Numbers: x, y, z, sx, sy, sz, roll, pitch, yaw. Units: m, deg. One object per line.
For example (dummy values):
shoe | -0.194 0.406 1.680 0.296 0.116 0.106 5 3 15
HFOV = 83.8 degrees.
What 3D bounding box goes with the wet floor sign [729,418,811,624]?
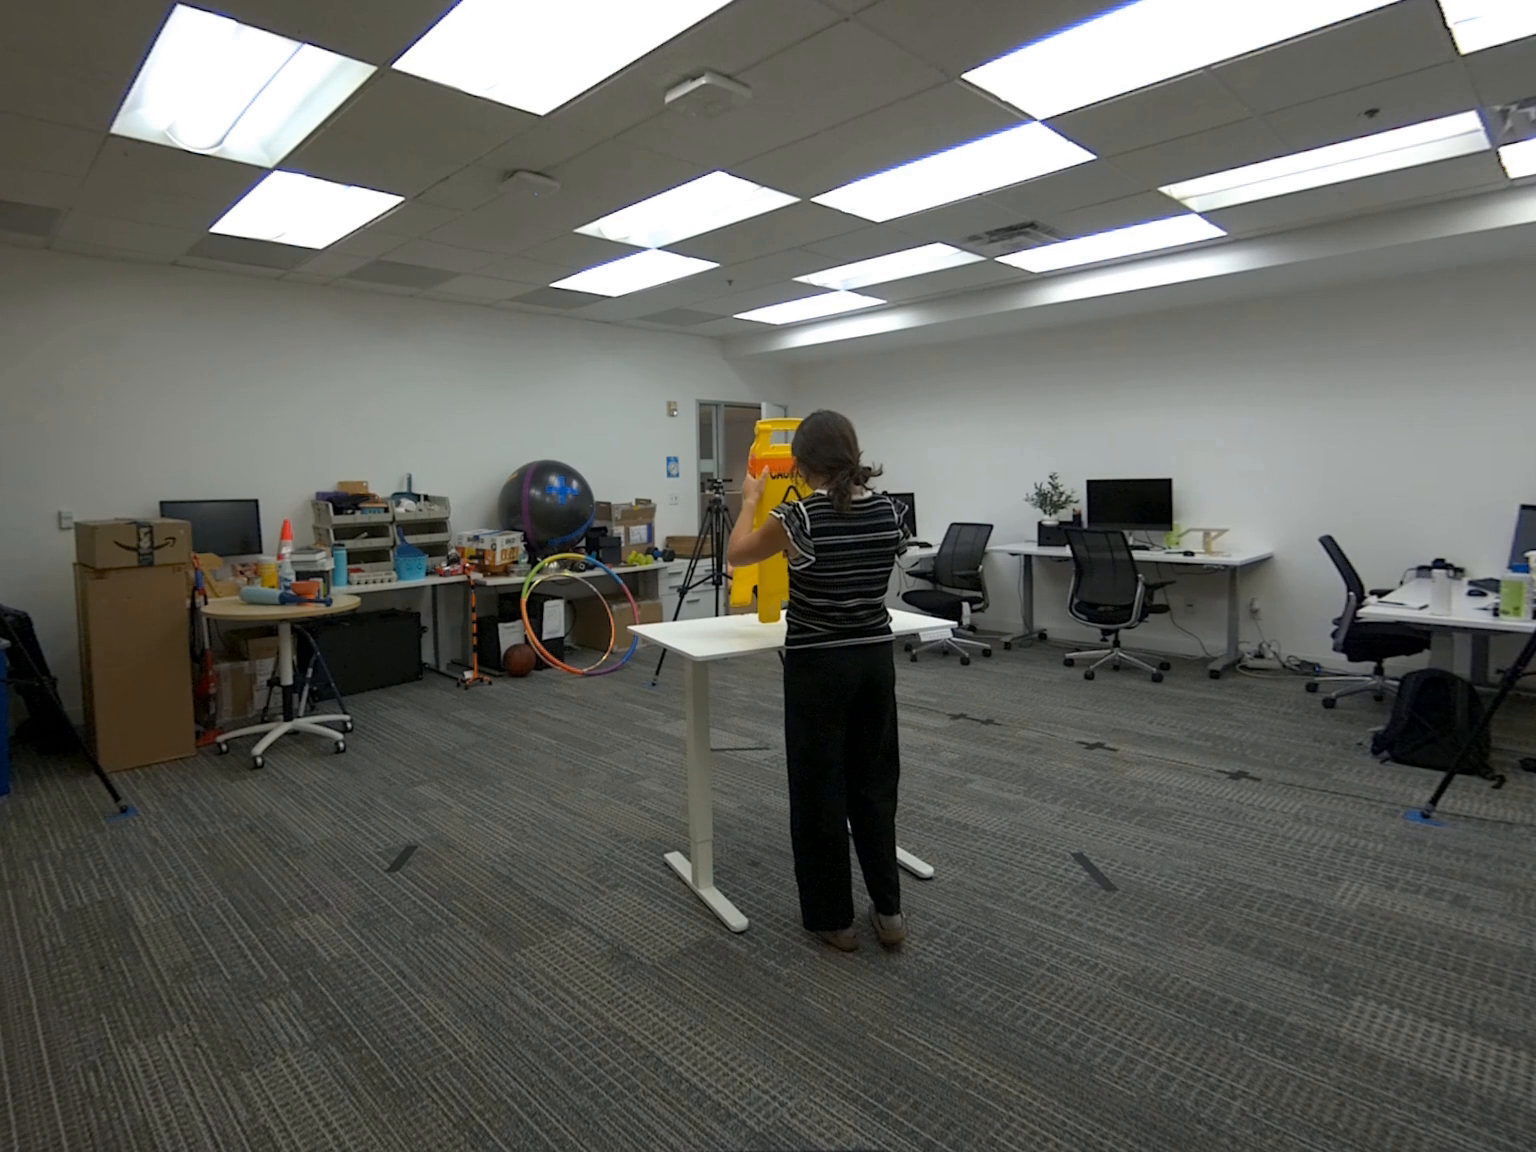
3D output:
wet floor sign | 0.053 -0.198 2.867 0.277 0.640 0.298 -3 11 -23
